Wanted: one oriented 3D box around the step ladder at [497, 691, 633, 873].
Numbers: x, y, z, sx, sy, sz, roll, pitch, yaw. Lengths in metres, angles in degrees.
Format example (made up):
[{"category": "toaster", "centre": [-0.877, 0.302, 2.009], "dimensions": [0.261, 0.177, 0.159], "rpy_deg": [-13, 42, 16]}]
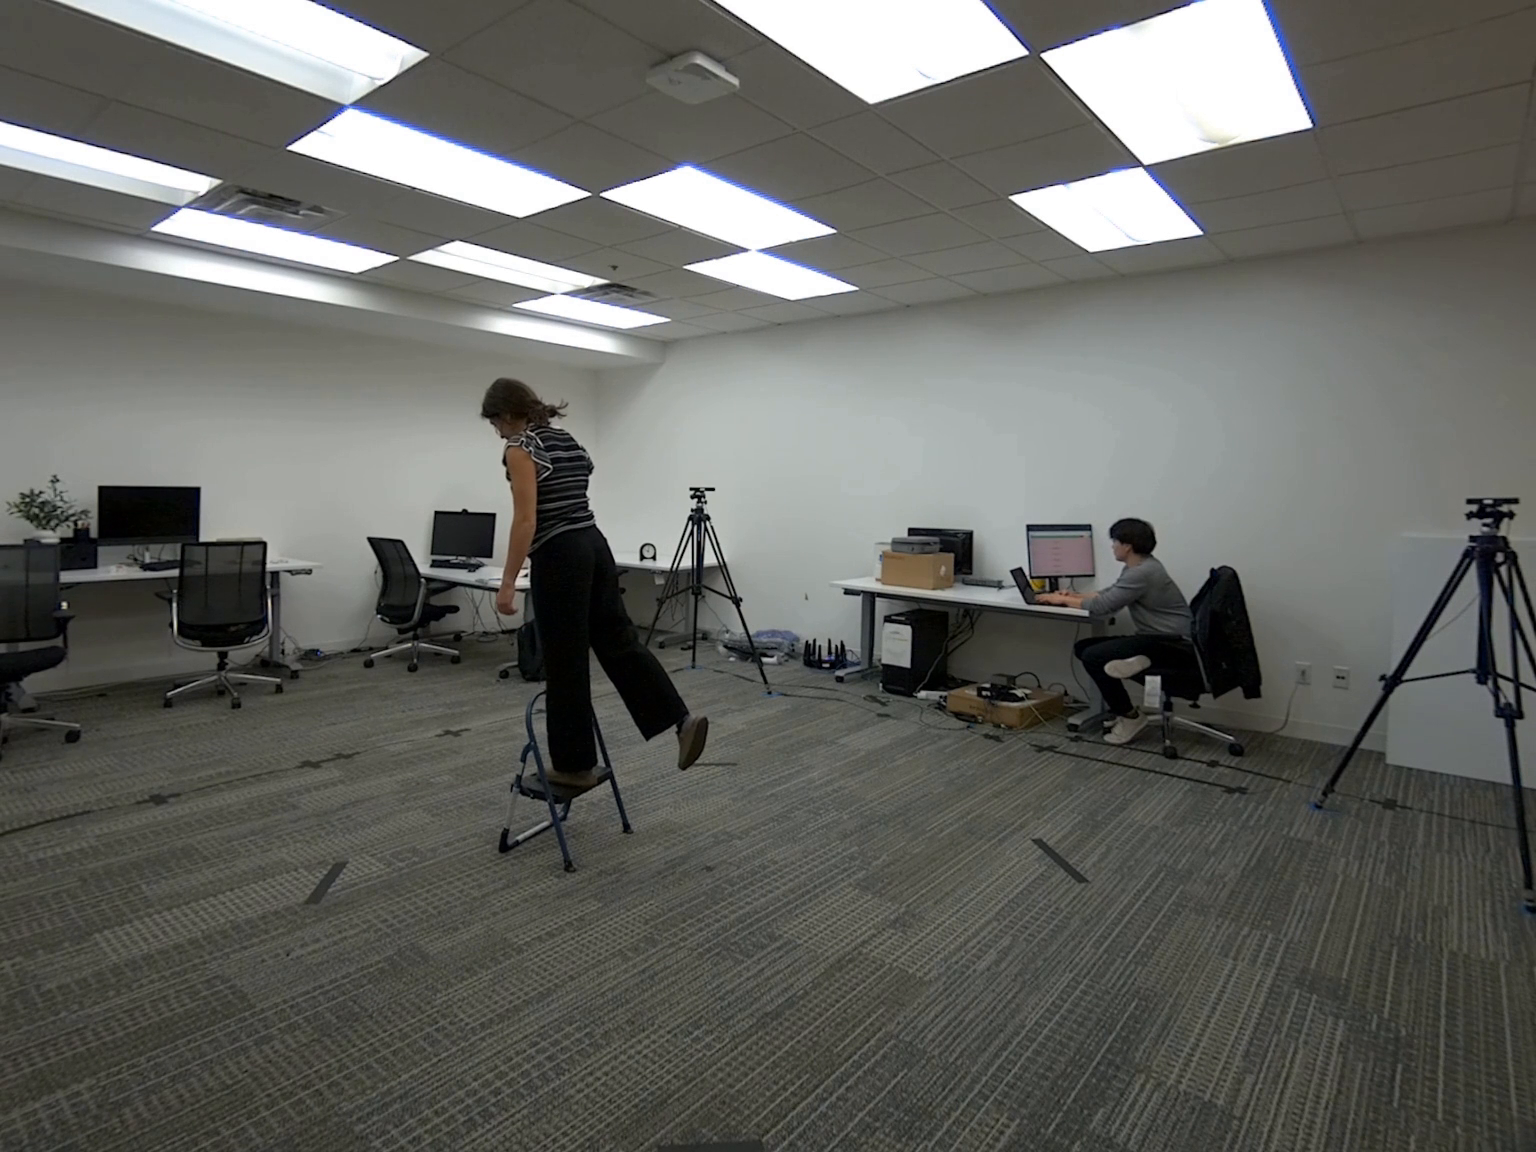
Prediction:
[{"category": "step ladder", "centre": [-0.789, 0.737, 3.310], "dimensions": [0.358, 0.604, 0.421], "rpy_deg": [3, 3, 24]}]
